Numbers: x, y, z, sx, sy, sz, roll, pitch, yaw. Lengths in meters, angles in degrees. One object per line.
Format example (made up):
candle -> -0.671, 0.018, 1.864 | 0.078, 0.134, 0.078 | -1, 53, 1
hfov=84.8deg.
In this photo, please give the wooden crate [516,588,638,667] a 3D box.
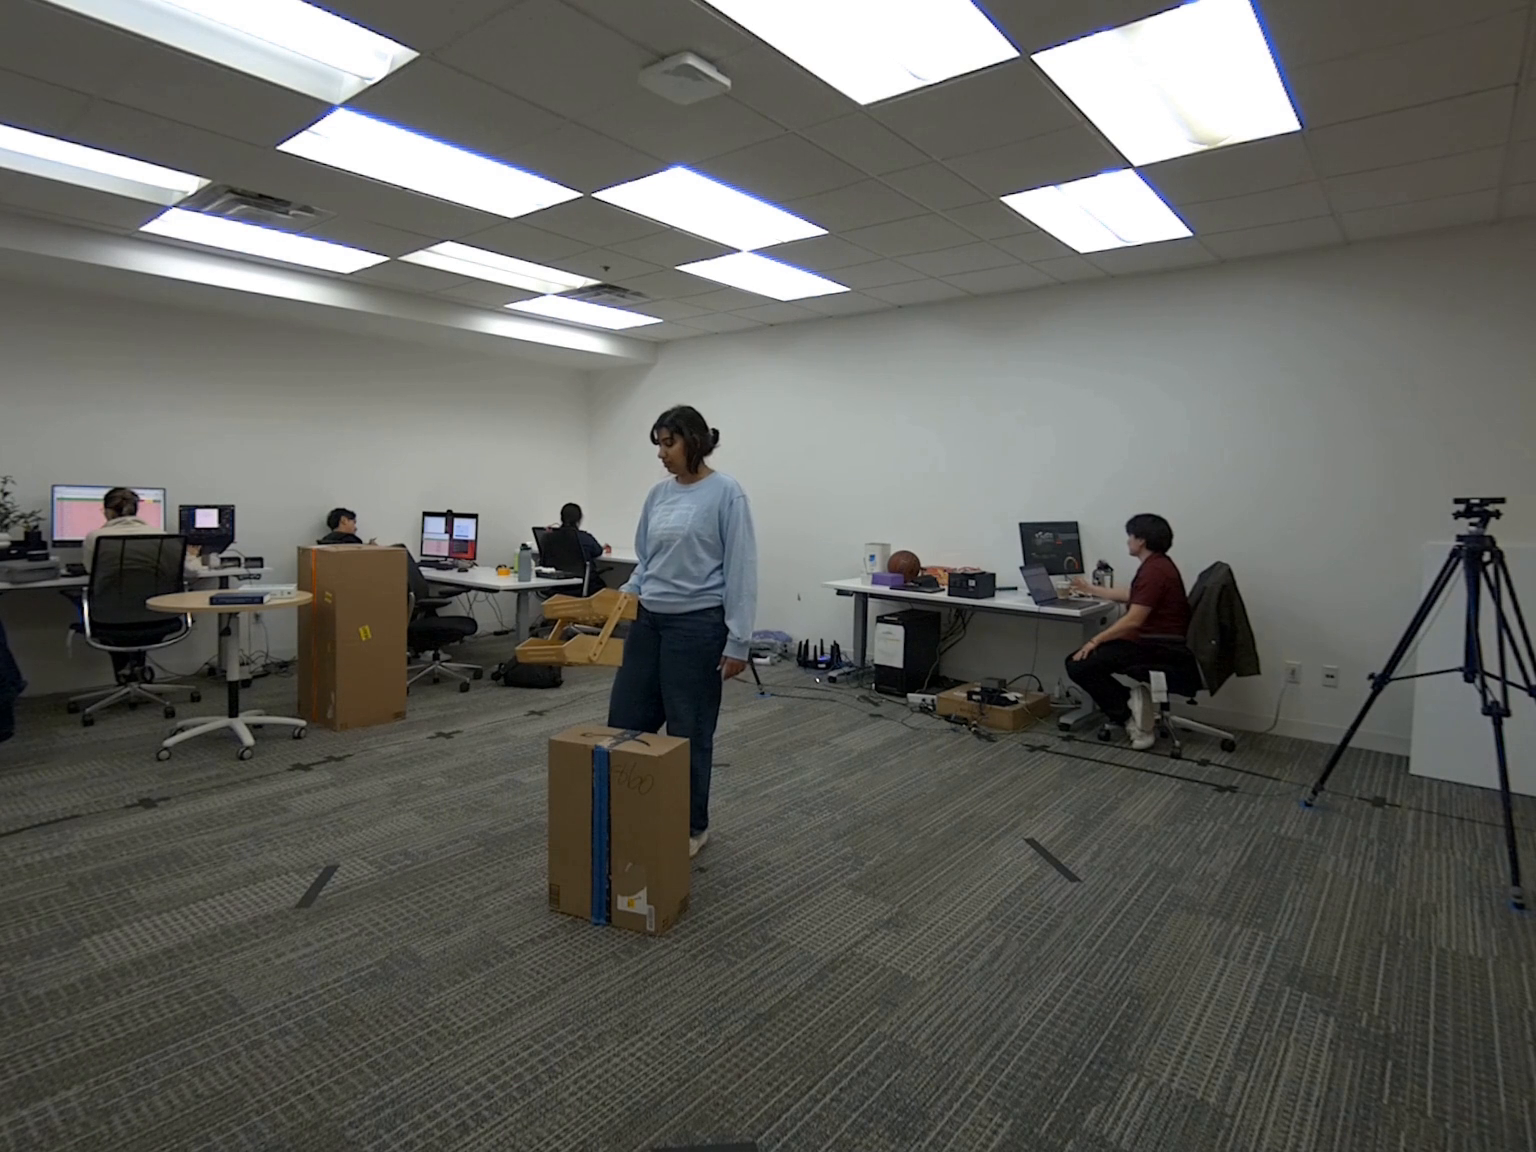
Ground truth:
wooden crate -> -0.699, 0.177, 3.024 | 0.333, 0.276, 0.290 | -7, -15, 43
